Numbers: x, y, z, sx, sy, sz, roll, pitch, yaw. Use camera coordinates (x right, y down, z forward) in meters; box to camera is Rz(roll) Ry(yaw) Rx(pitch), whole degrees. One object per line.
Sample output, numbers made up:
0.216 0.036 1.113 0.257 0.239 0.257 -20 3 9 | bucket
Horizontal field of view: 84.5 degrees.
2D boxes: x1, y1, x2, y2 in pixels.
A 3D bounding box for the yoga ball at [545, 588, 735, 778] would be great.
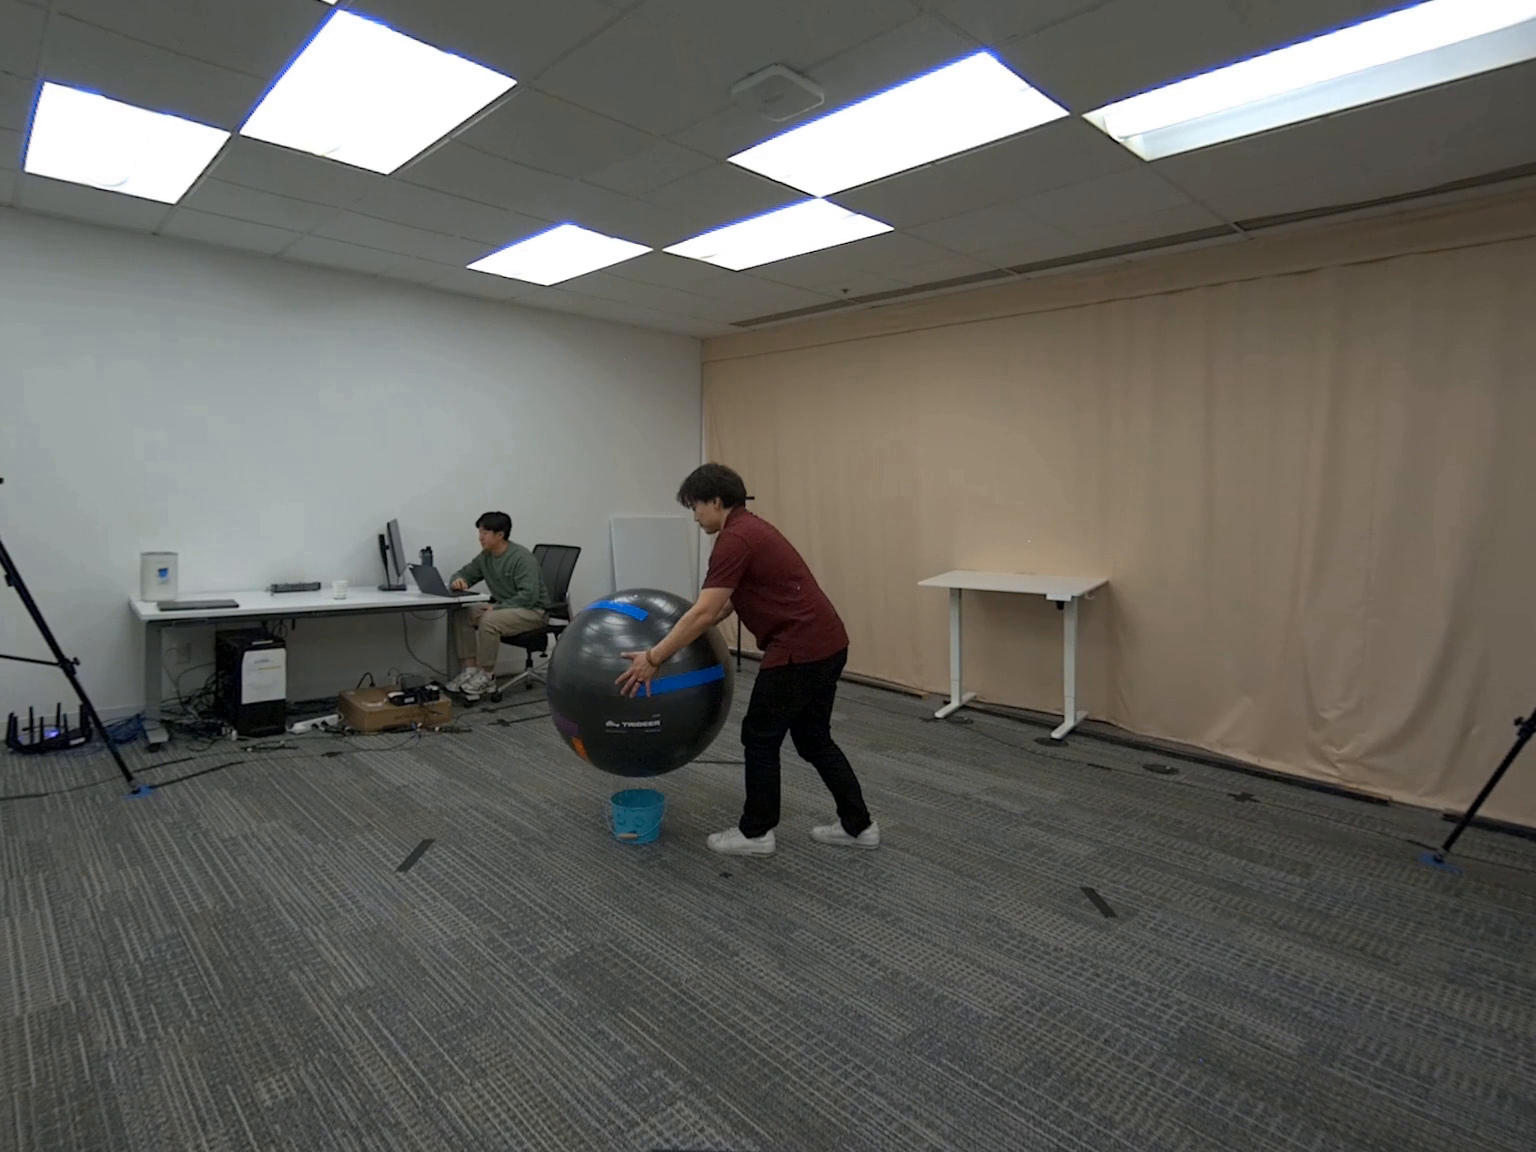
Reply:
-0.525 0.432 3.432 0.757 0.756 0.761 1 4 -1 | yoga ball
